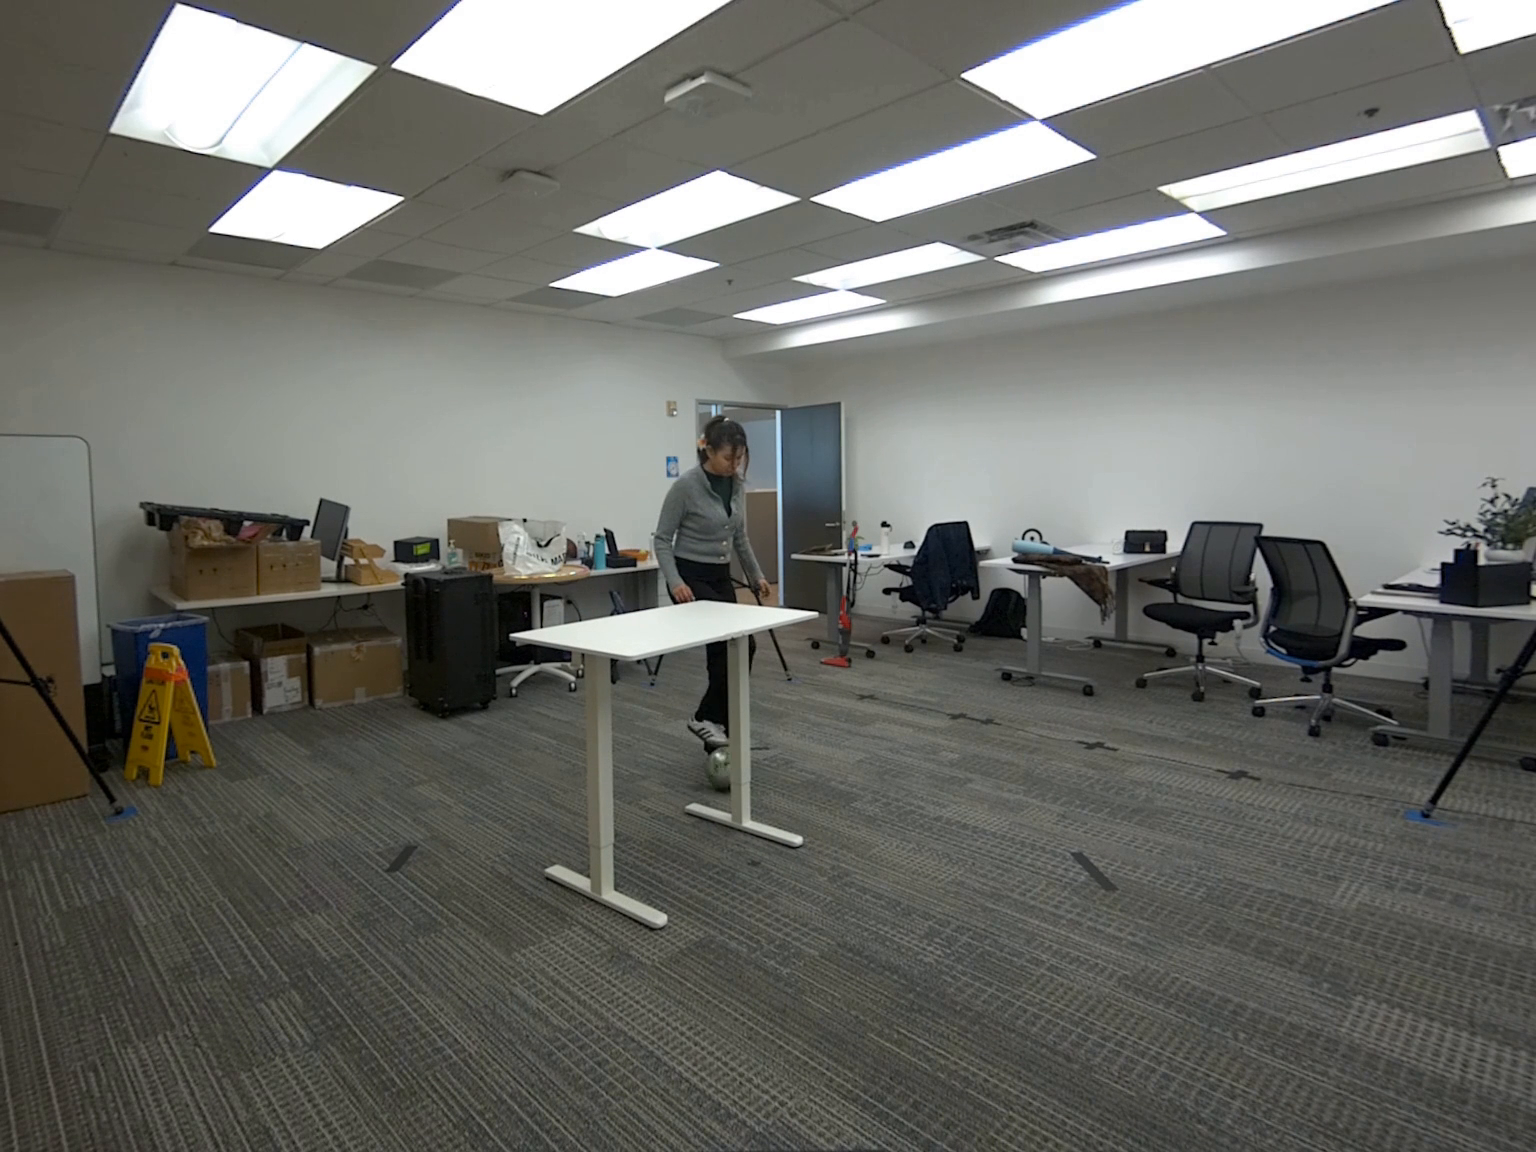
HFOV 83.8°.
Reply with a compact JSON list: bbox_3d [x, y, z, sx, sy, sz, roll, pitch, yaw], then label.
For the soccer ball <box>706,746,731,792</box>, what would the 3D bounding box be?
[{"bbox_3d":[-0.193,0.875,3.848,0.187,0.187,0.188,-1,5,-2],"label":"soccer ball"}]
